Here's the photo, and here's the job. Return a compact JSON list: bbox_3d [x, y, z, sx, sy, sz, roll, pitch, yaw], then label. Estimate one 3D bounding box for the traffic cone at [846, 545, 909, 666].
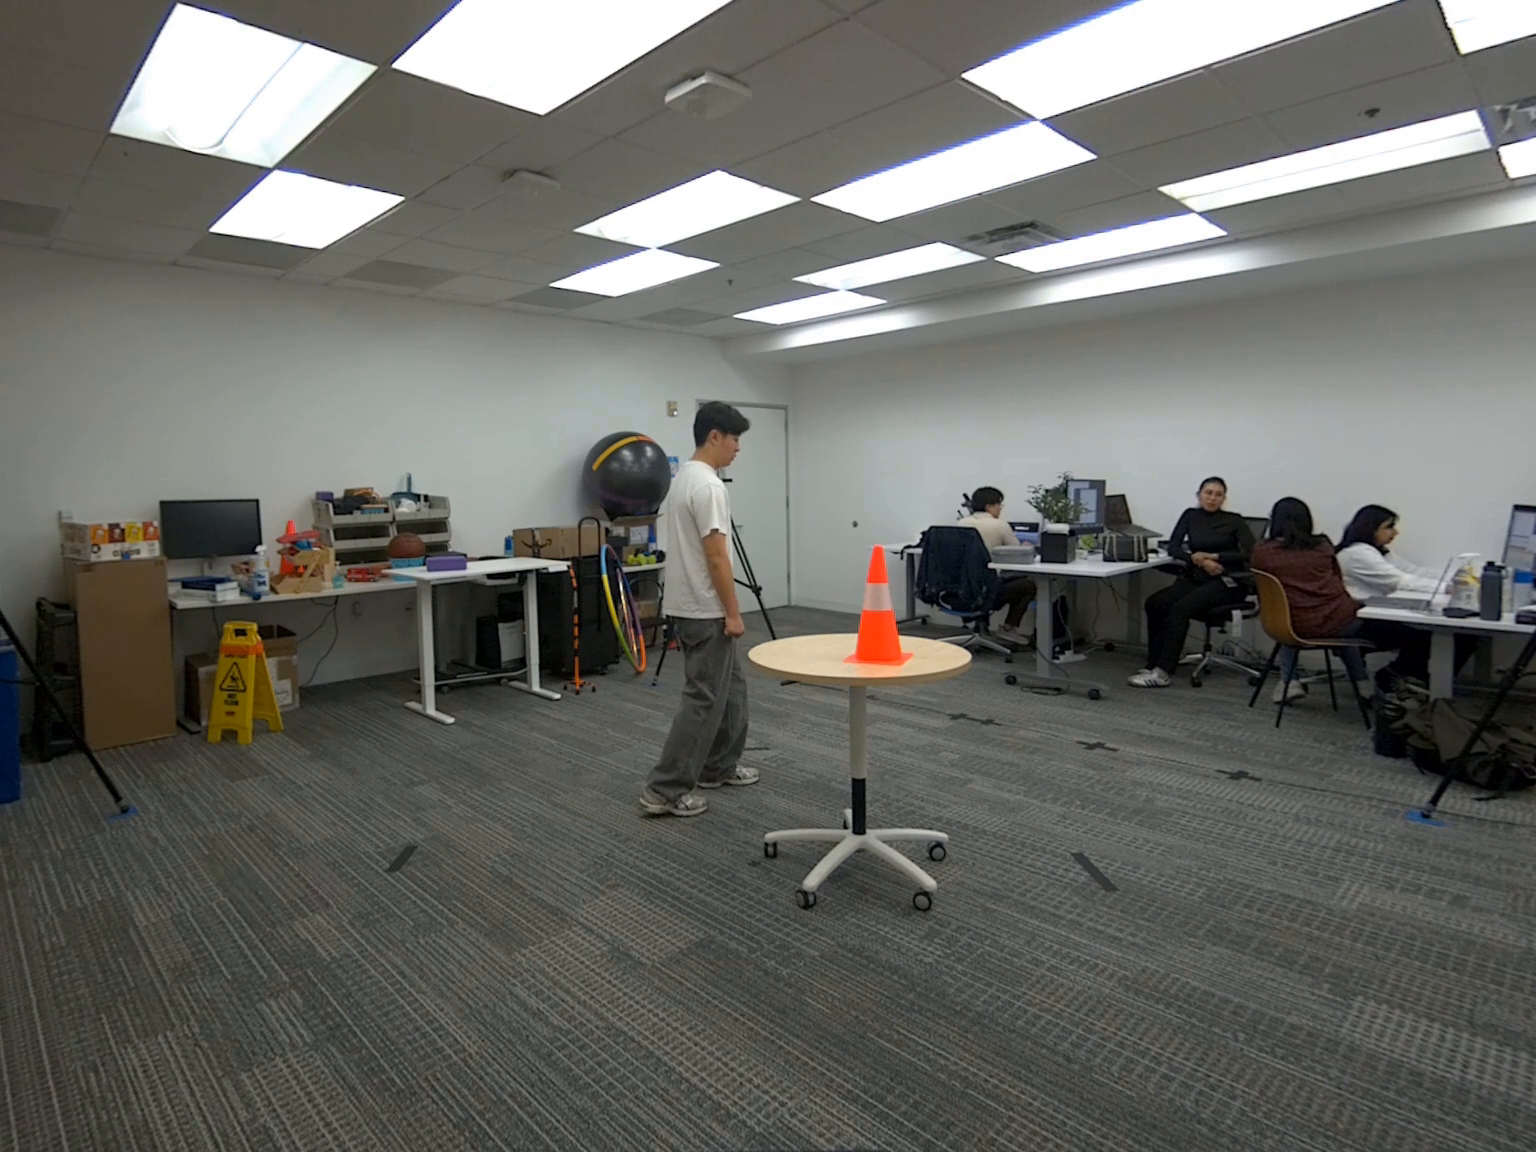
[{"bbox_3d":[0.371,0.095,2.883,0.207,0.382,0.202,0,5,21],"label":"traffic cone"}]
